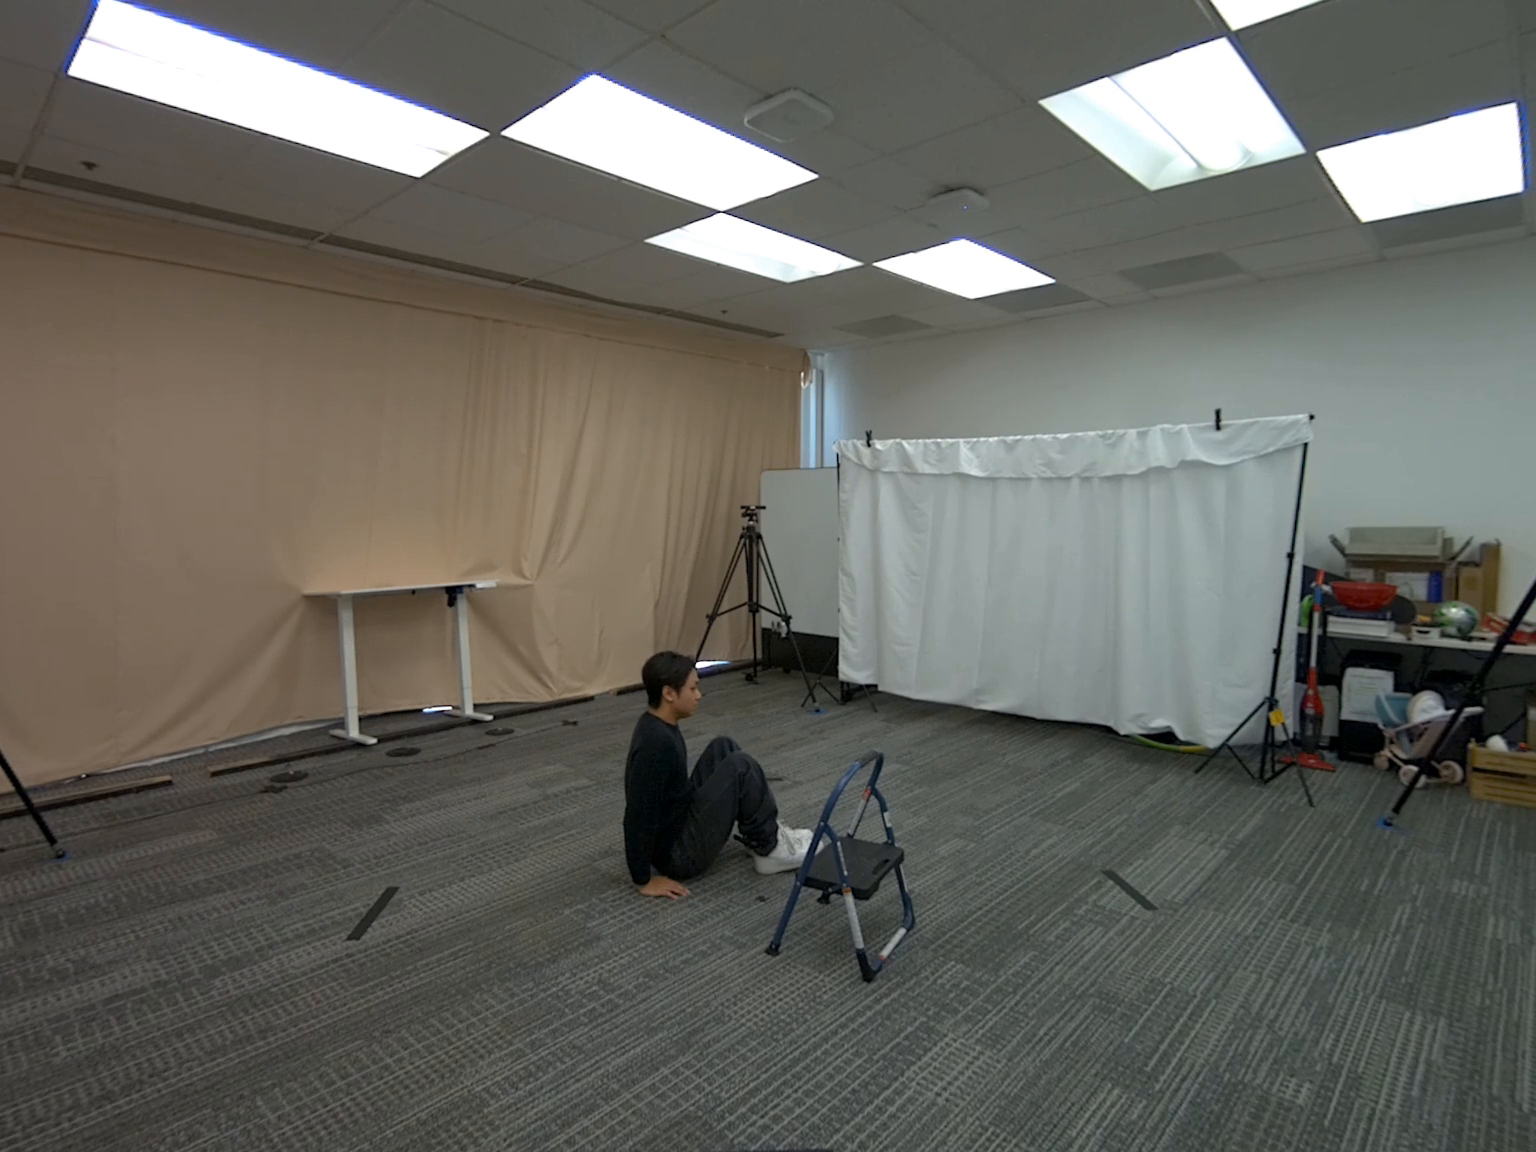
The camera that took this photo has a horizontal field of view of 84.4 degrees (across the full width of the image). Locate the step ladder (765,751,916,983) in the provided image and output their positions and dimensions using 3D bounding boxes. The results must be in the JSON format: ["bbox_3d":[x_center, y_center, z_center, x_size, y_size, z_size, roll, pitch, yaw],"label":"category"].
[{"bbox_3d":[0.246,0.863,2.695,0.359,0.605,0.419,1,4,29],"label":"step ladder"}]
